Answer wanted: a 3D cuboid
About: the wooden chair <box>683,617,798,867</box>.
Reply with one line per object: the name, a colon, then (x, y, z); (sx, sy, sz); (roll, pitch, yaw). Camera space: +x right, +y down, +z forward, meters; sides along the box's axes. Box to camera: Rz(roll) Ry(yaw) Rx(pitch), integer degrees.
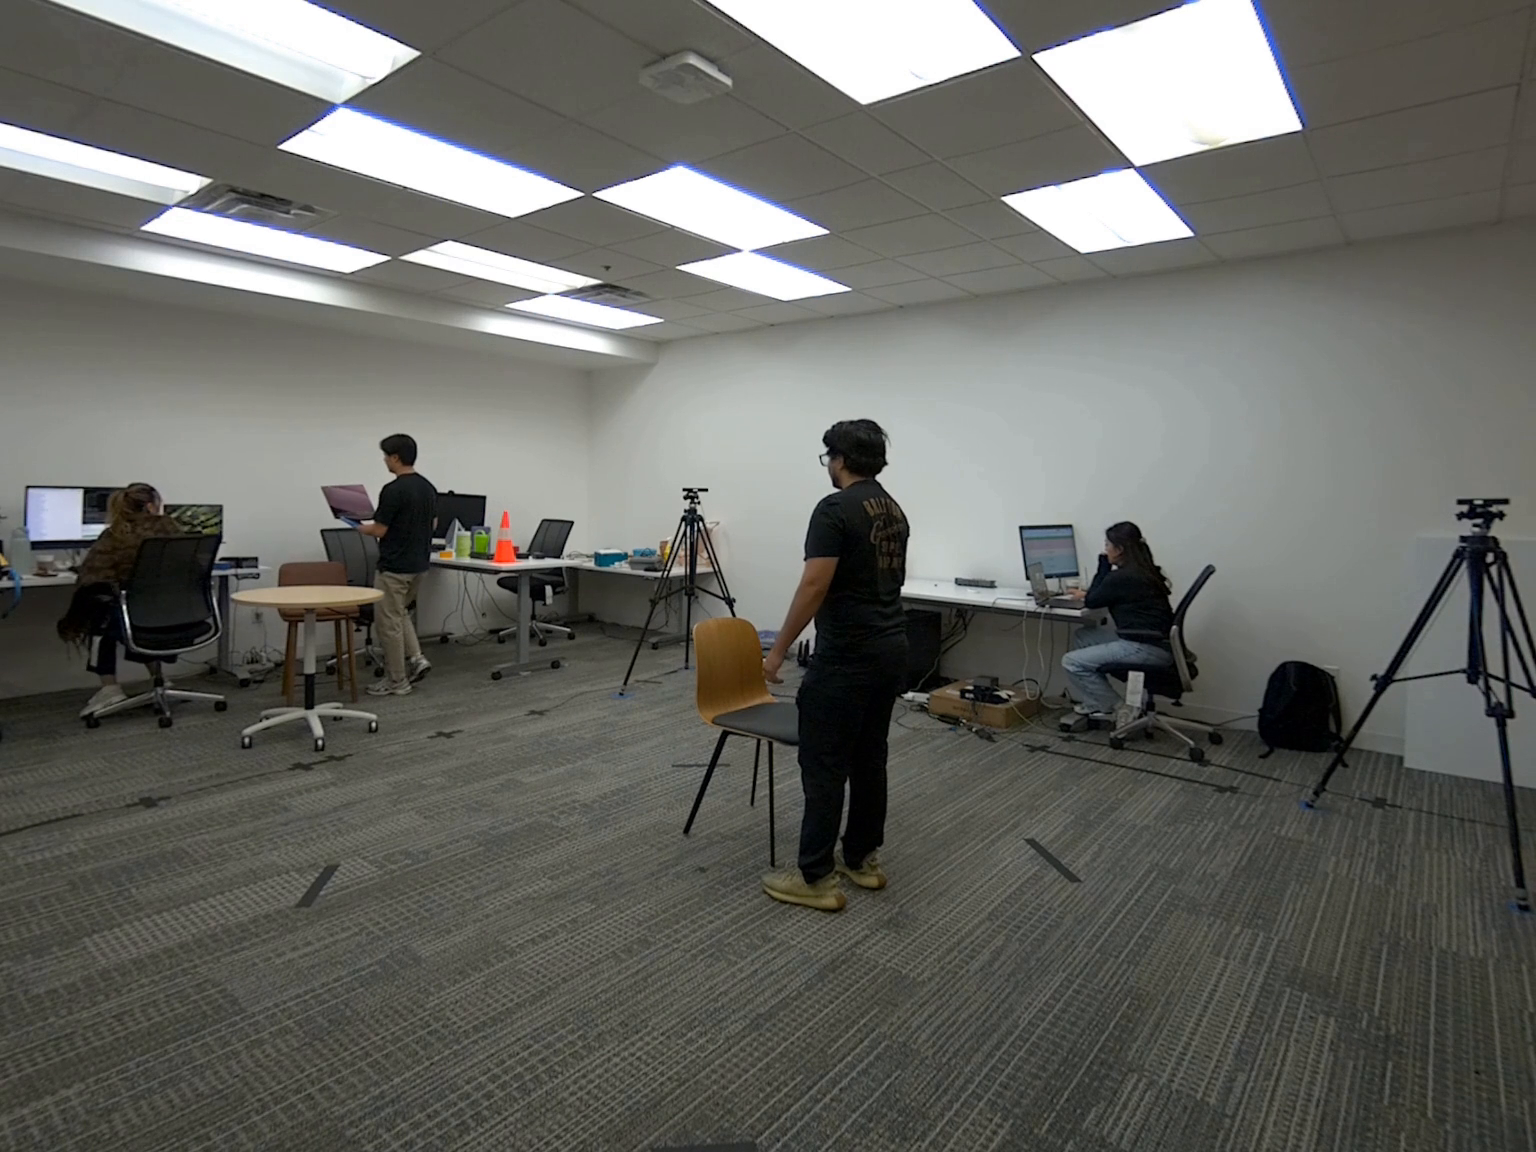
wooden chair: (-0.019, 0.614, 3.416); (0.539, 0.877, 0.464); (-2, 0, 40)
